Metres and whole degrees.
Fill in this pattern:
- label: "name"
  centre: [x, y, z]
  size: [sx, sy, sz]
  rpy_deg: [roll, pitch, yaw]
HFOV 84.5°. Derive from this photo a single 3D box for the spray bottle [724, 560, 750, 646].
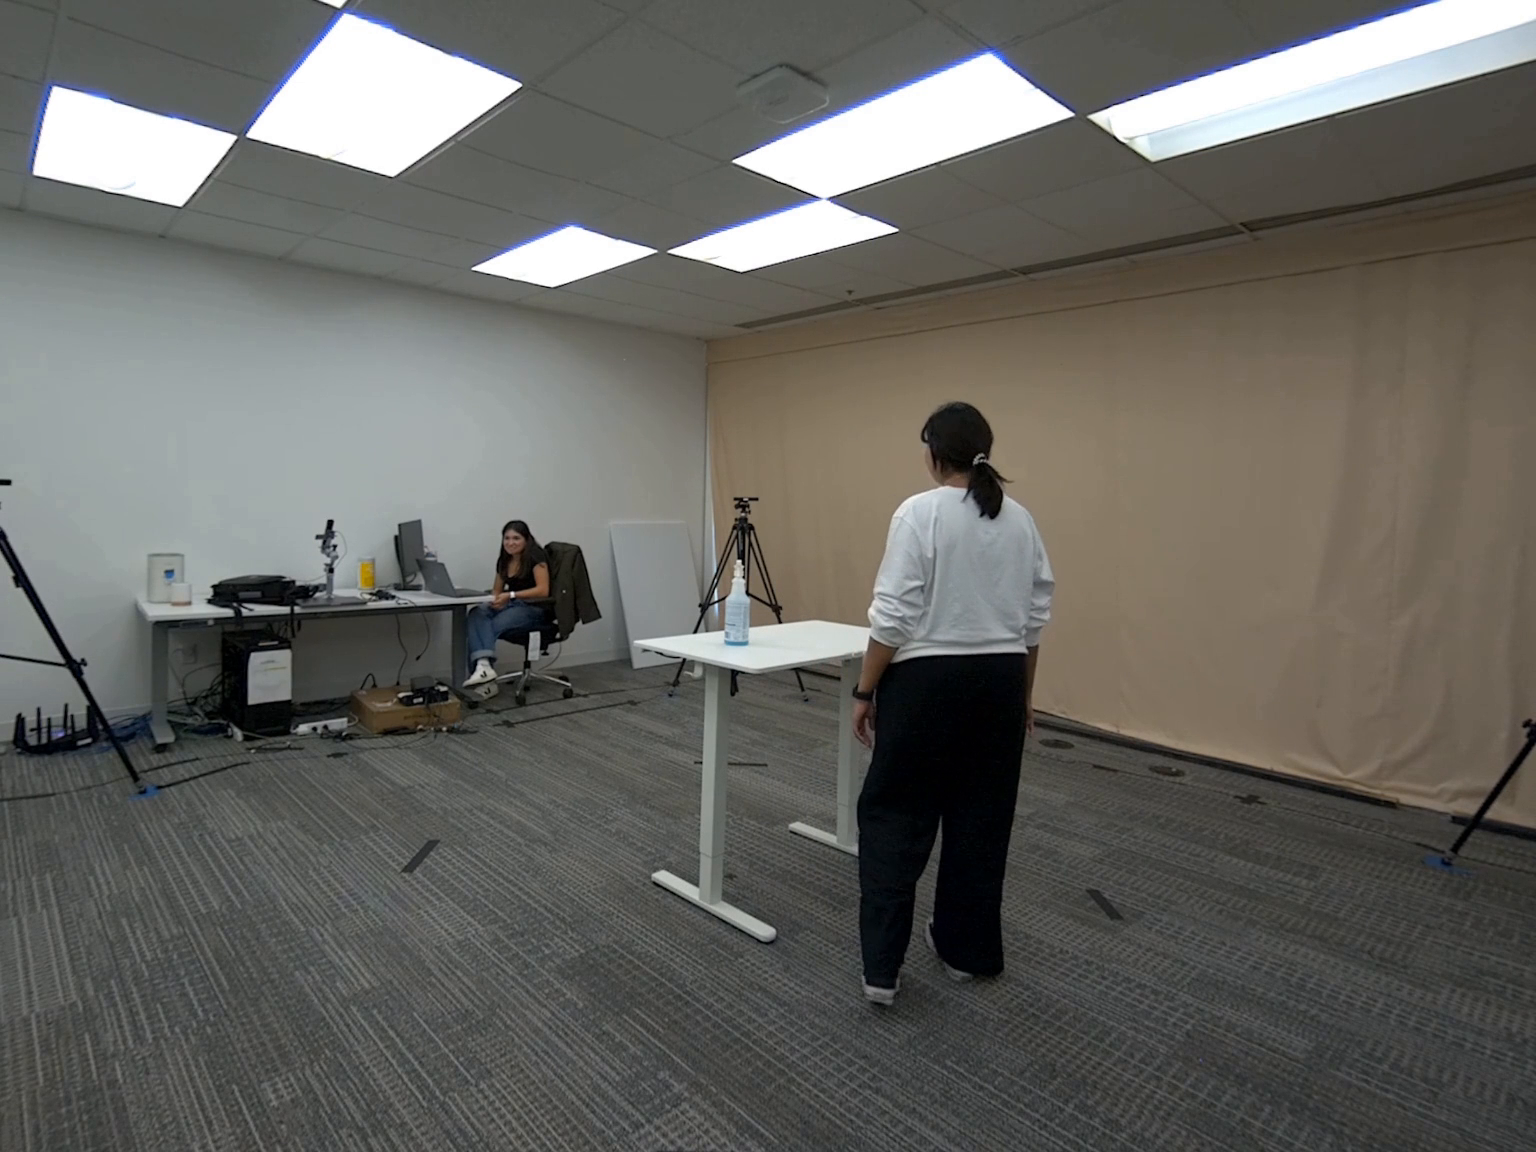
- label: "spray bottle"
  centre: [-0.113, 0.095, 2.934]
  size: [0.089, 0.297, 0.088]
  rpy_deg: [3, 3, 26]
